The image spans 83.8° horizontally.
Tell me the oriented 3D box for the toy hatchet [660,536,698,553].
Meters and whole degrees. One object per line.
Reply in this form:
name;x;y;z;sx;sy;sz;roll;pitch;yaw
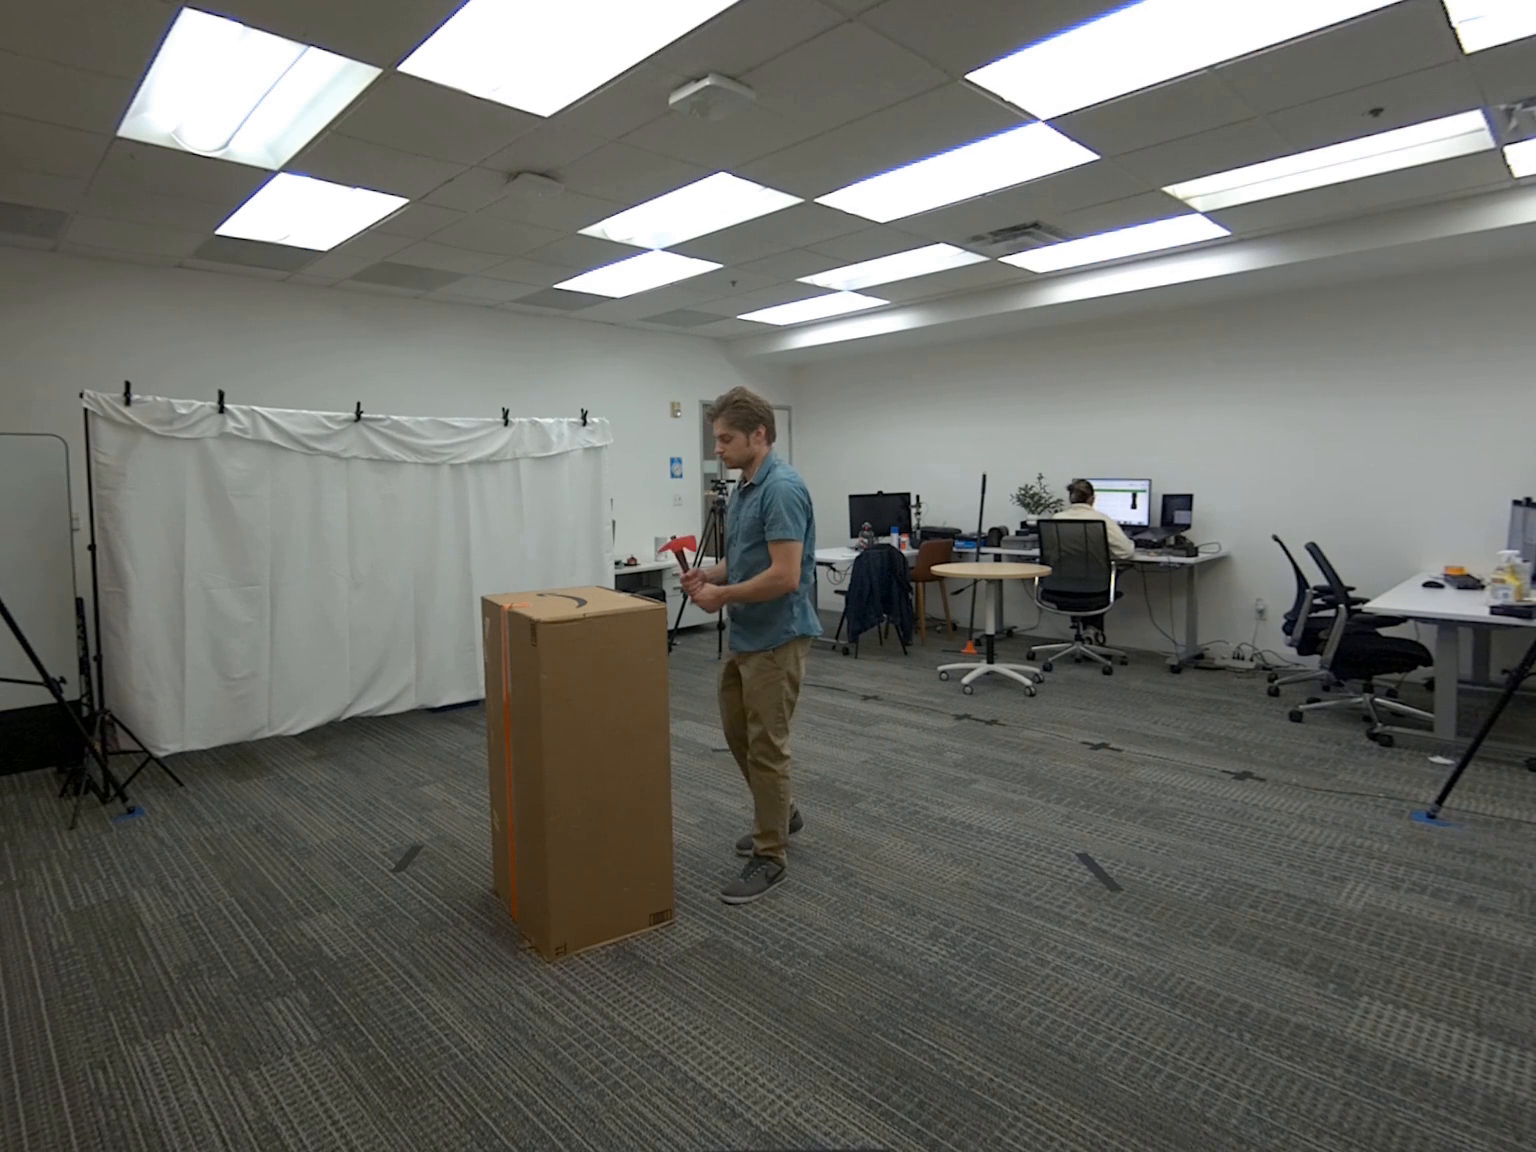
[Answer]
toy hatchet;-0.239;-0.039;2.903;0.131;0.266;0.030;-43;10;-5
